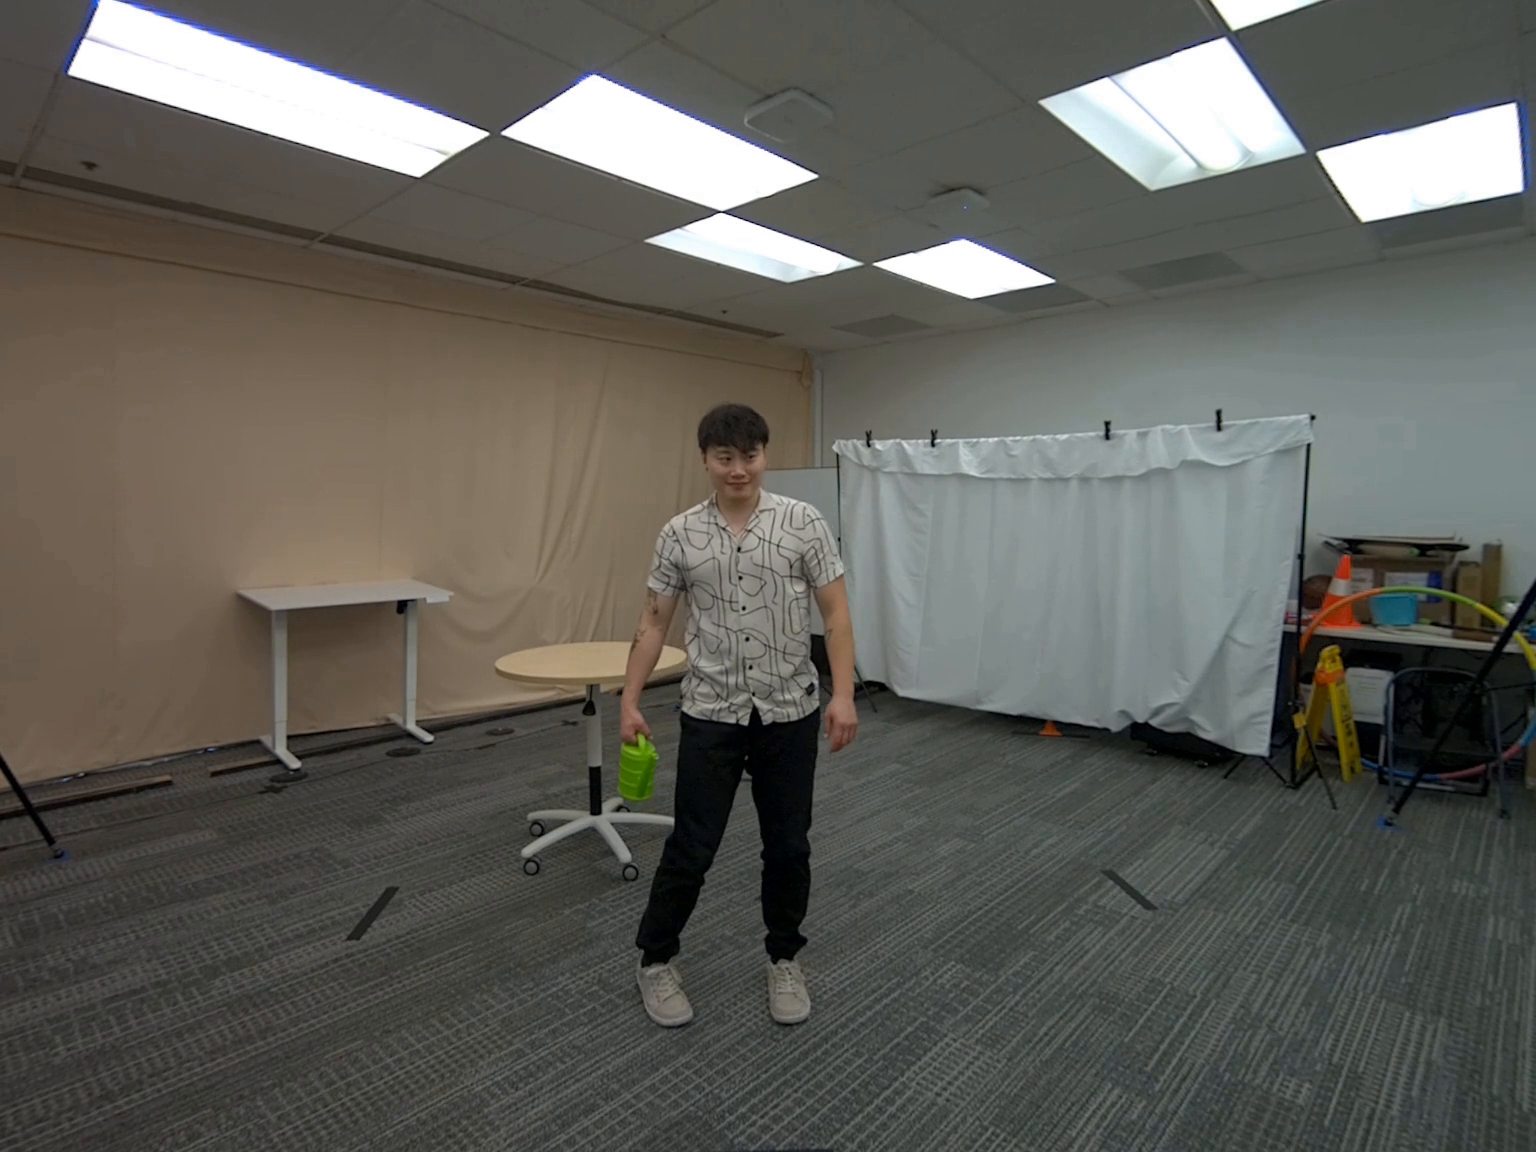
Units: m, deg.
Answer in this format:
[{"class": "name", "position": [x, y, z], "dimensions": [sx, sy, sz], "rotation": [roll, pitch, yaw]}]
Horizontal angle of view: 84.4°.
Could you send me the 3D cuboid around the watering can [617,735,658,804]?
[{"class": "watering can", "position": [-0.341, 0.516, 2.264], "dimensions": [0.097, 0.176, 0.282], "rotation": [3, 6, -13]}]
